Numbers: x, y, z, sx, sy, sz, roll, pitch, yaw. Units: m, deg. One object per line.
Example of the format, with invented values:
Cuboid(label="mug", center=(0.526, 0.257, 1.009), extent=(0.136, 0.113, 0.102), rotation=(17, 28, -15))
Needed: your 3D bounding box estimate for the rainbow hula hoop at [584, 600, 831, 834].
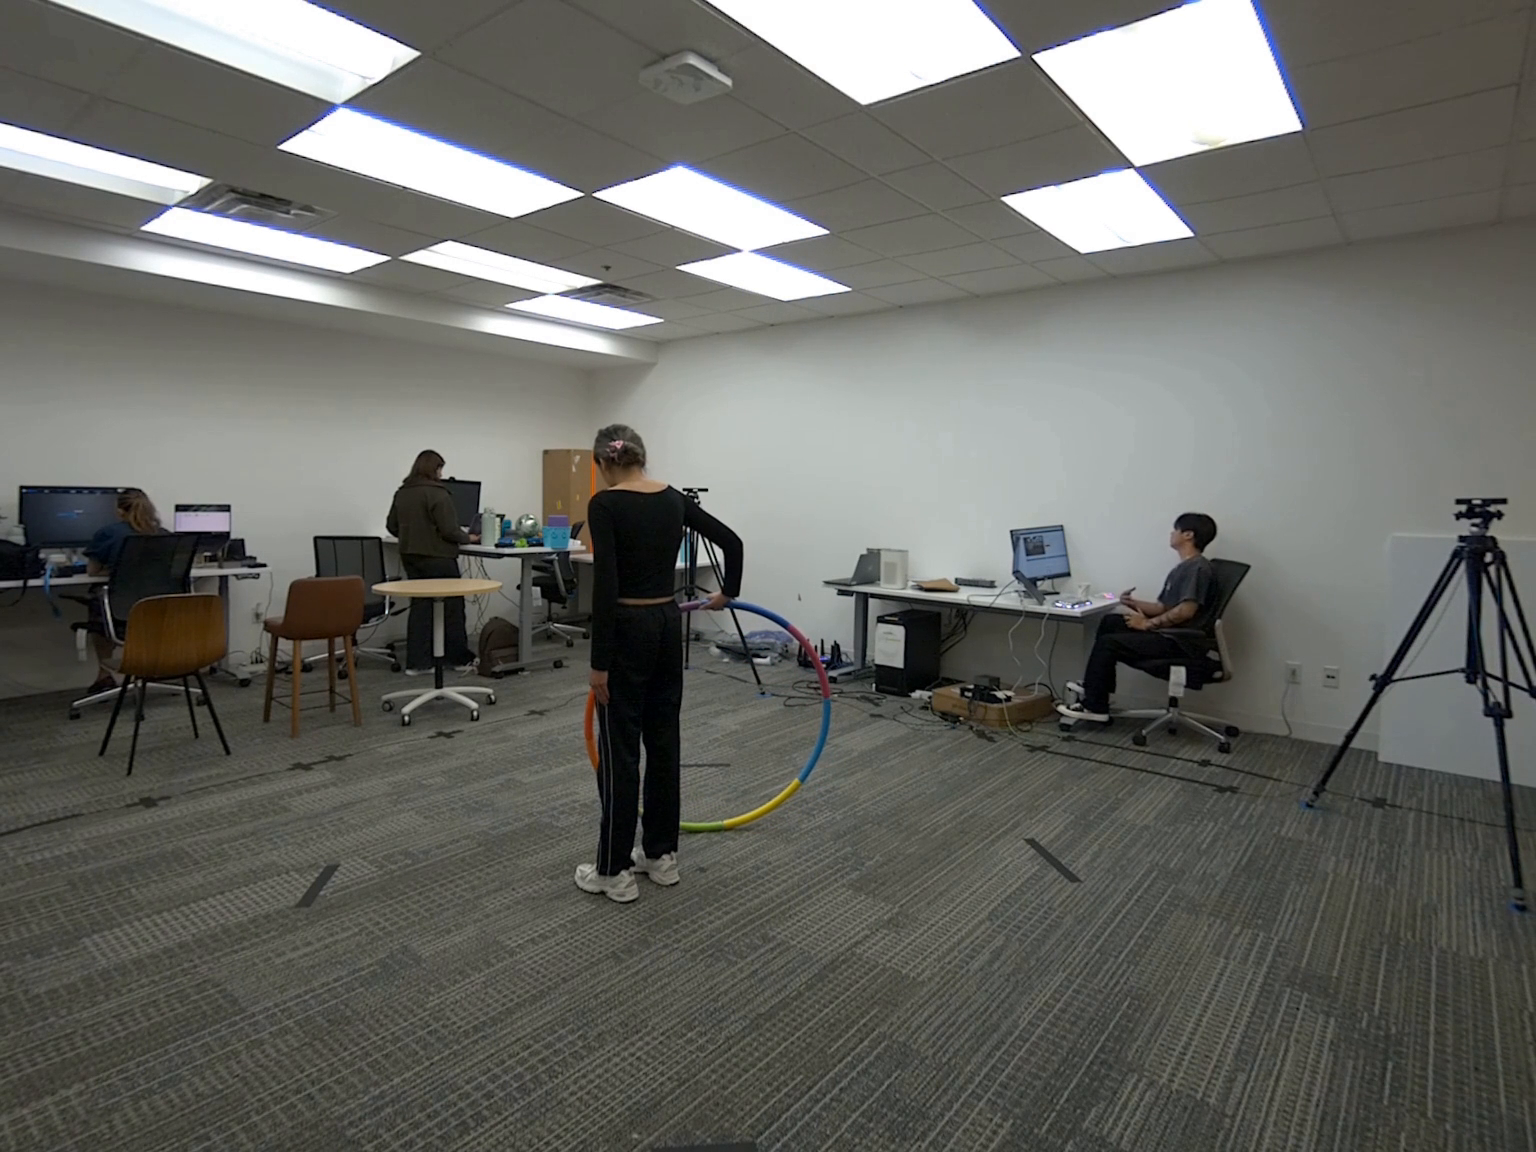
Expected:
Cuboid(label="rainbow hula hoop", center=(-0.230, 0.560, 3.395), extent=(0.966, 0.969, 0.036), rotation=(0, 10, -12))
